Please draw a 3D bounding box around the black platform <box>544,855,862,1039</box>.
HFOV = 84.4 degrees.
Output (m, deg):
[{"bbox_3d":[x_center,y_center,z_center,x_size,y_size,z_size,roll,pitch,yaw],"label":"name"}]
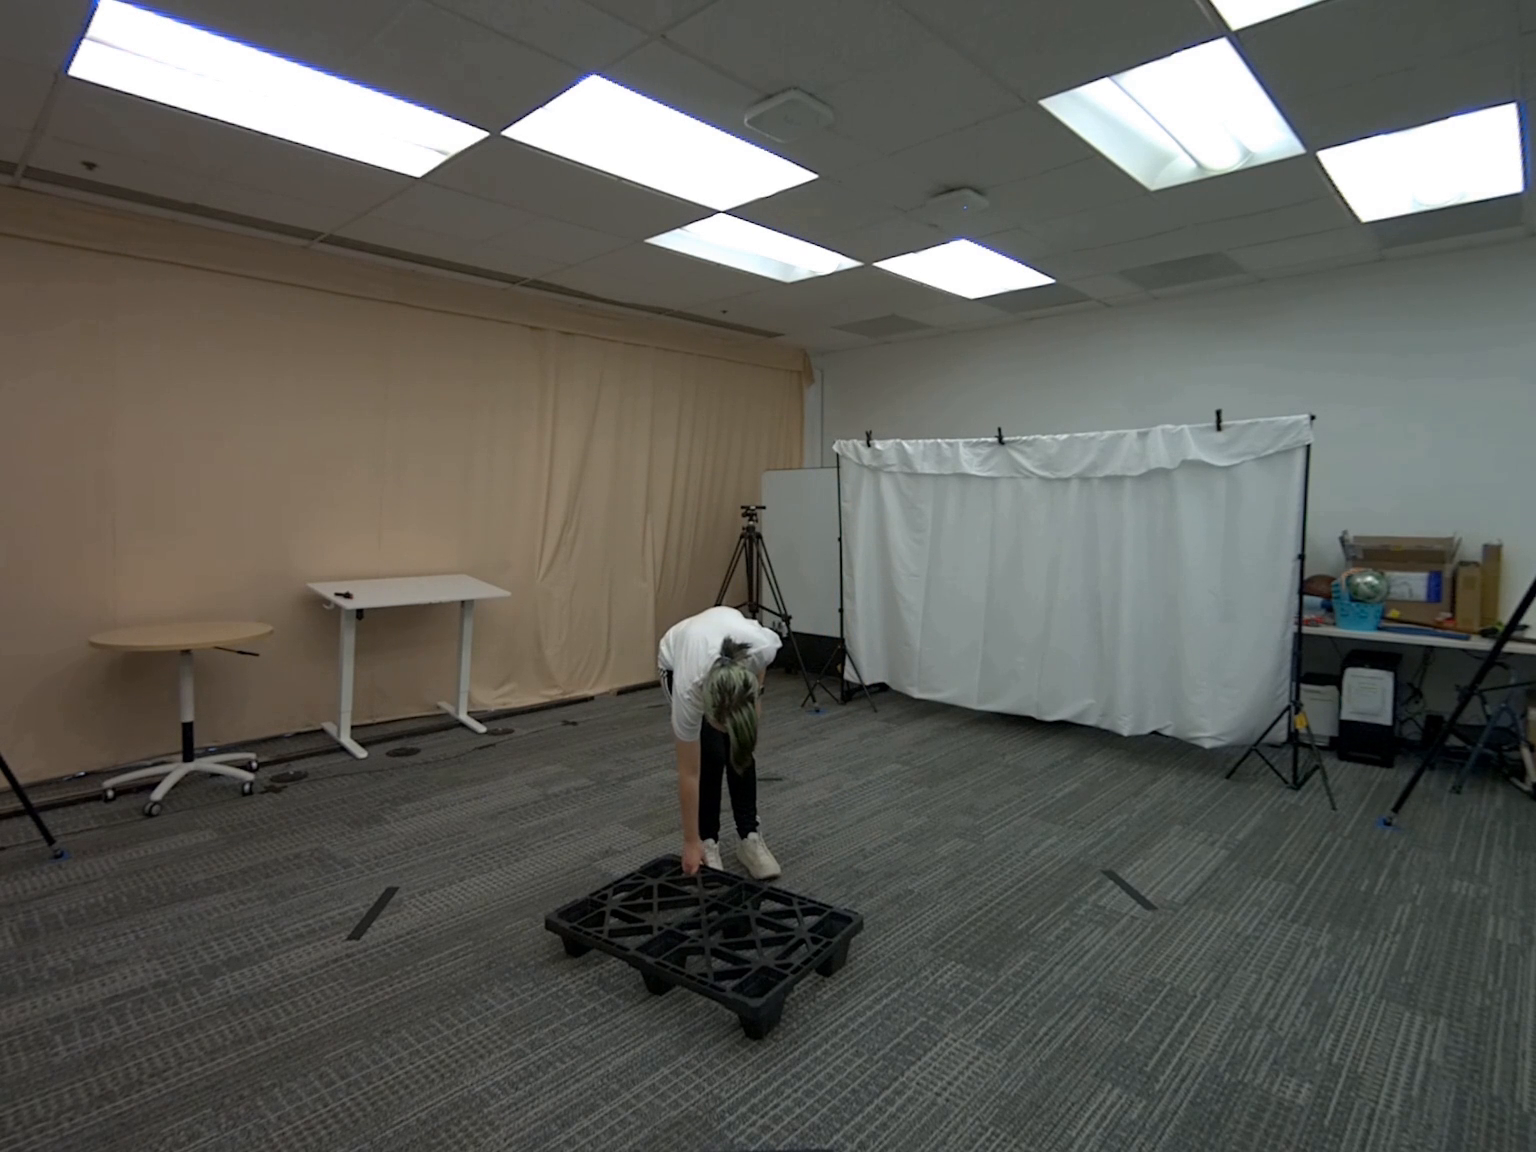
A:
[{"bbox_3d":[-0.193,1.112,2.580,0.831,0.143,0.588,3,6,35],"label":"black platform"}]
